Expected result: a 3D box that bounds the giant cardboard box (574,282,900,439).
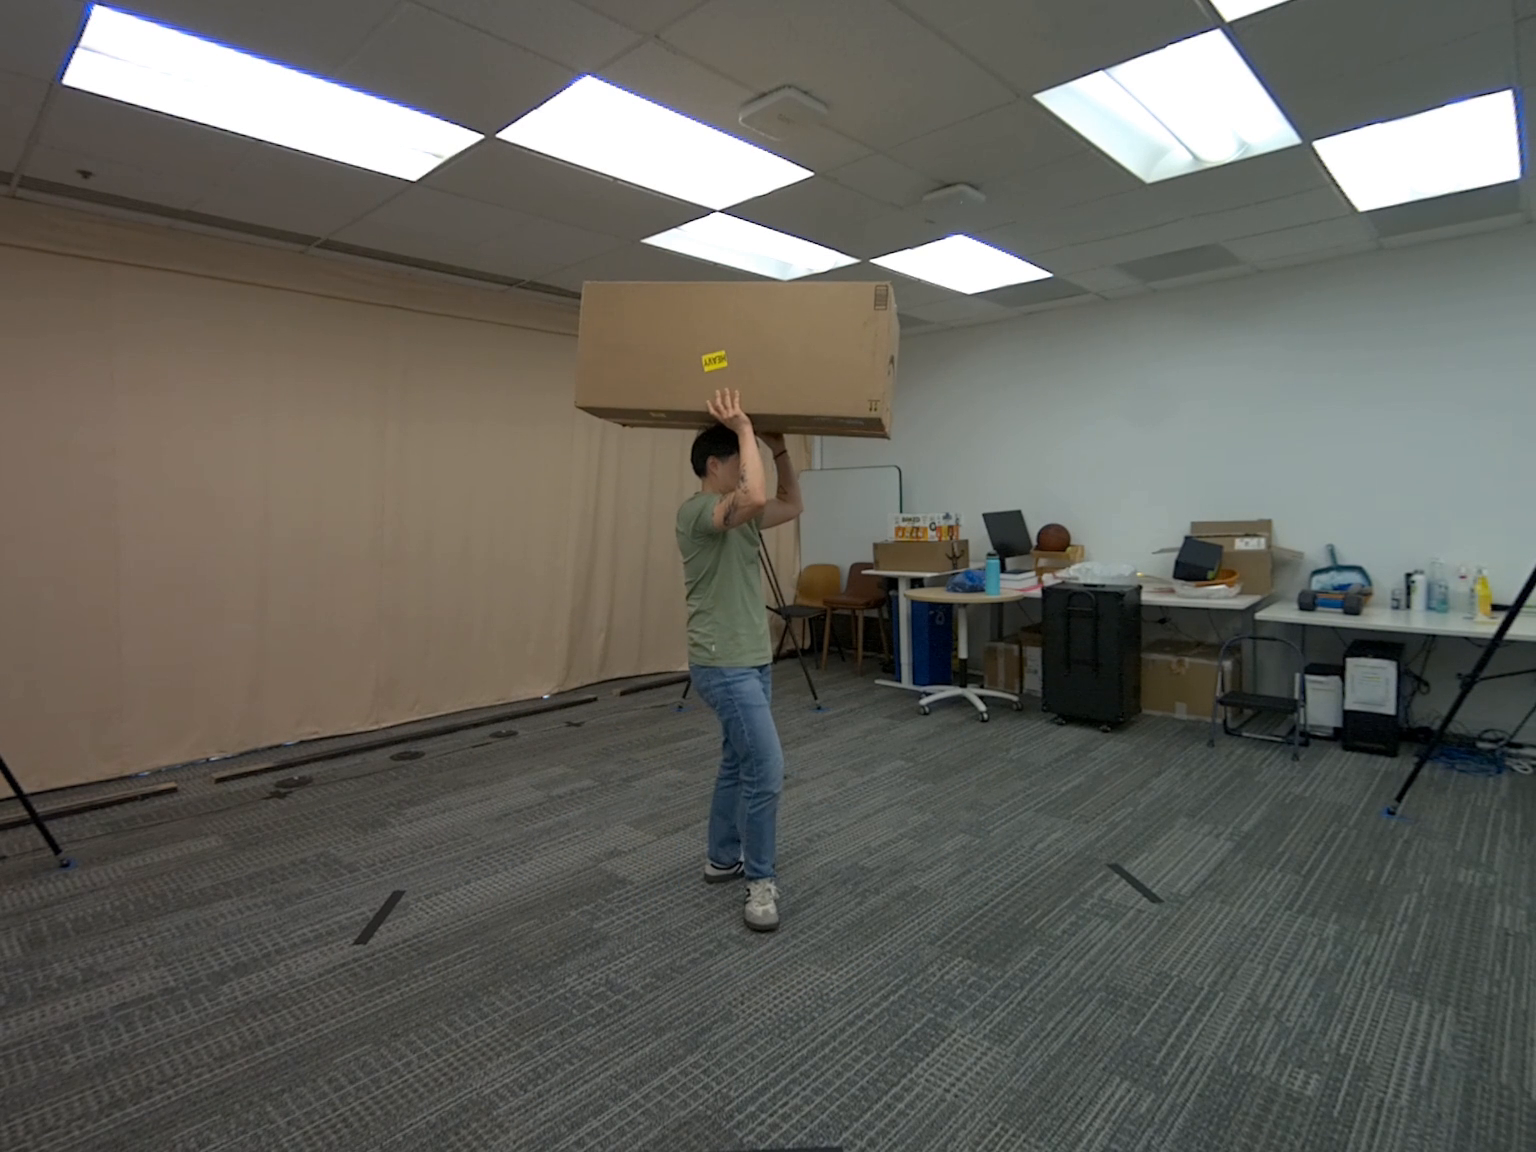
[{"bbox_3d":[-0.075,-0.743,2.976,1.042,0.426,0.569,5,2,13],"label":"giant cardboard box"}]
